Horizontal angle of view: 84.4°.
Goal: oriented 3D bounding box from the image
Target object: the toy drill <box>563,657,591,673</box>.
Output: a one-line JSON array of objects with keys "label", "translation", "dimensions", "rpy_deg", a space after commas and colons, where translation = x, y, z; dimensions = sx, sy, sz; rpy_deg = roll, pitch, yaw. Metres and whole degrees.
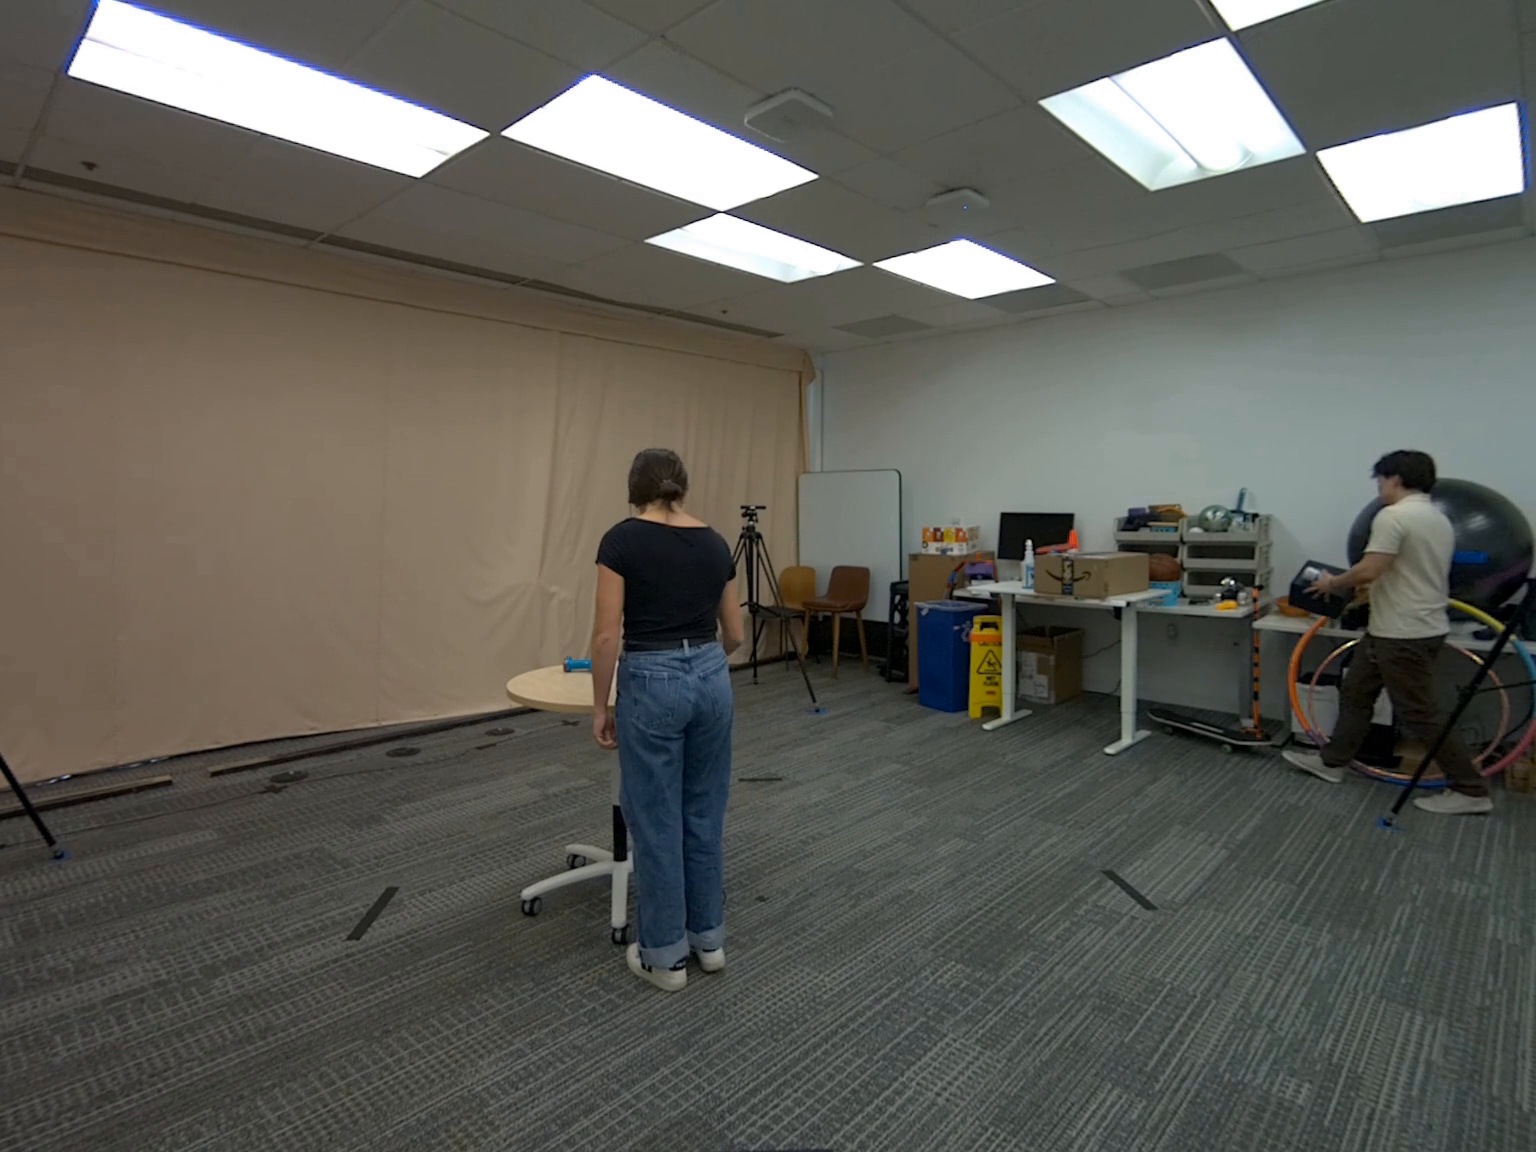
[{"label": "toy drill", "translation": [-0.680, 0.322, 3.156], "dimensions": [0.147, 0.061, 0.170], "rpy_deg": [-1, 11, 4]}]
